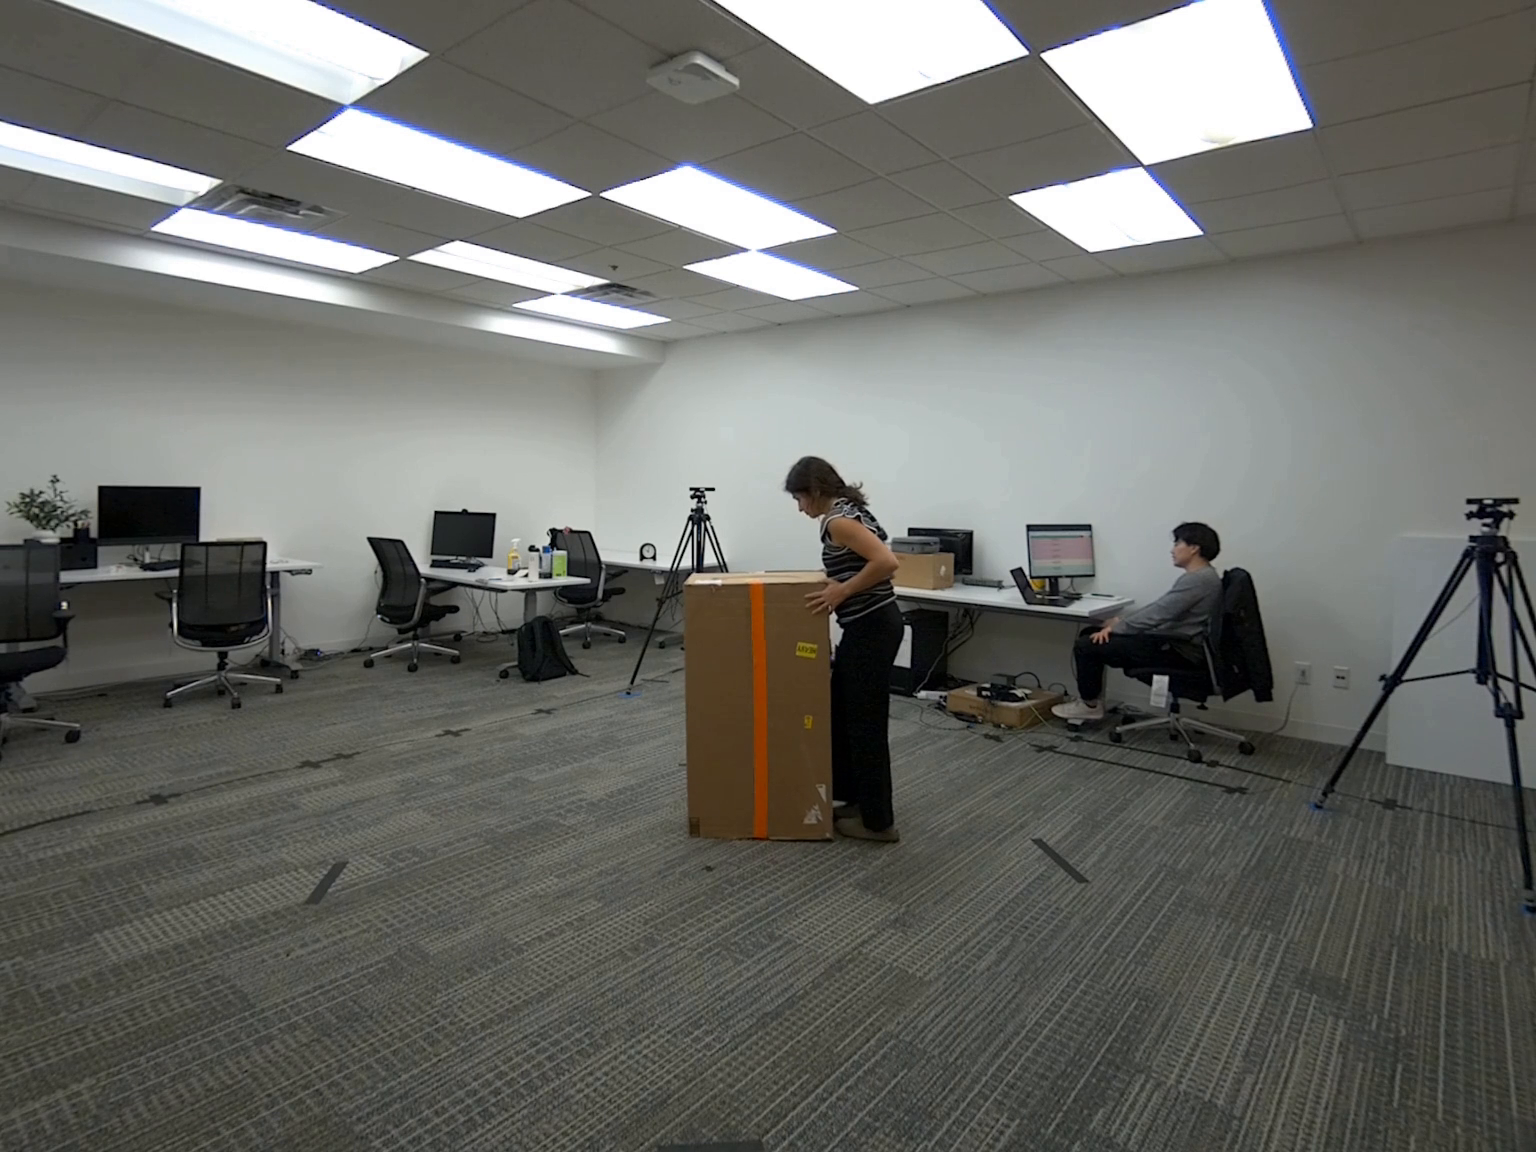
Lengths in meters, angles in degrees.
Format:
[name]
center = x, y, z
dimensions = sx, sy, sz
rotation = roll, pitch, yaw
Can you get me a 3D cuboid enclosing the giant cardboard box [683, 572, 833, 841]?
[giant cardboard box]
center = -0.057, 0.513, 3.559
dimensions = 0.580, 1.022, 0.426
rotation = -1, 3, 3
